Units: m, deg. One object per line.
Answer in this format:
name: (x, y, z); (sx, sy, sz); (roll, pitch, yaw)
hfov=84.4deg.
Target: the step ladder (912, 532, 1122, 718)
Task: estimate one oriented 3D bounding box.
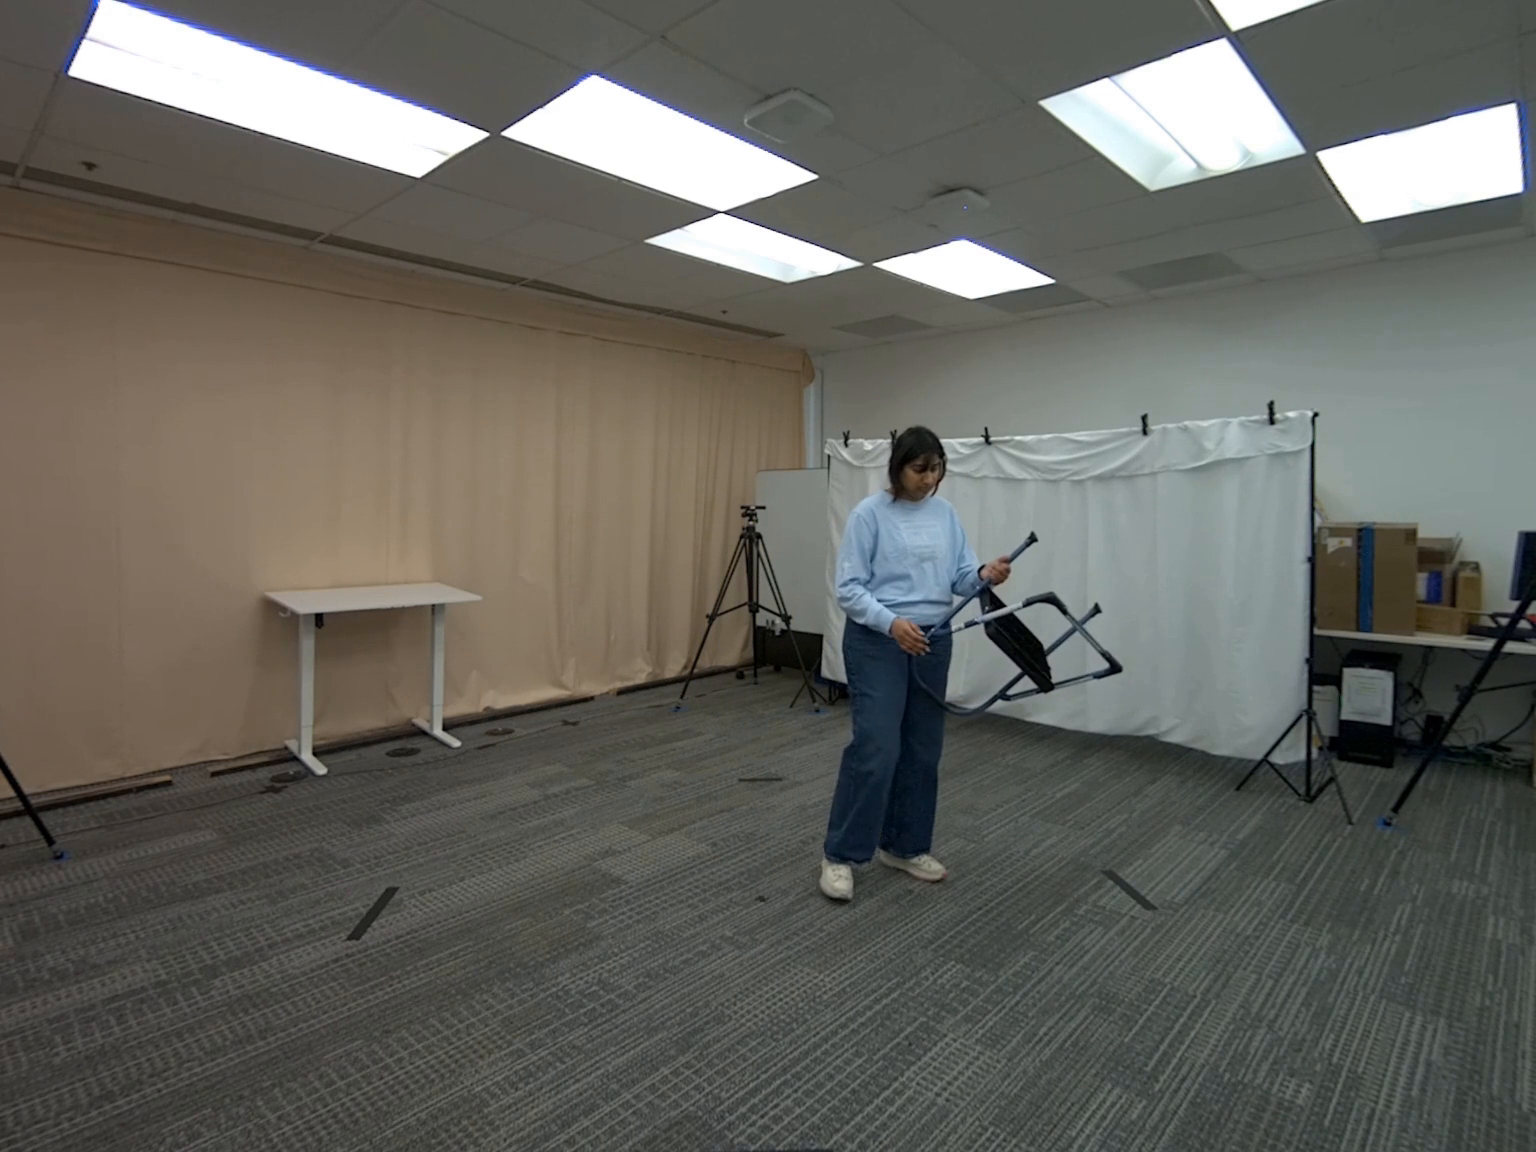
step ladder: (0.808, 0.234, 2.947); (0.613, 0.420, 0.353); (-36, 24, 27)
